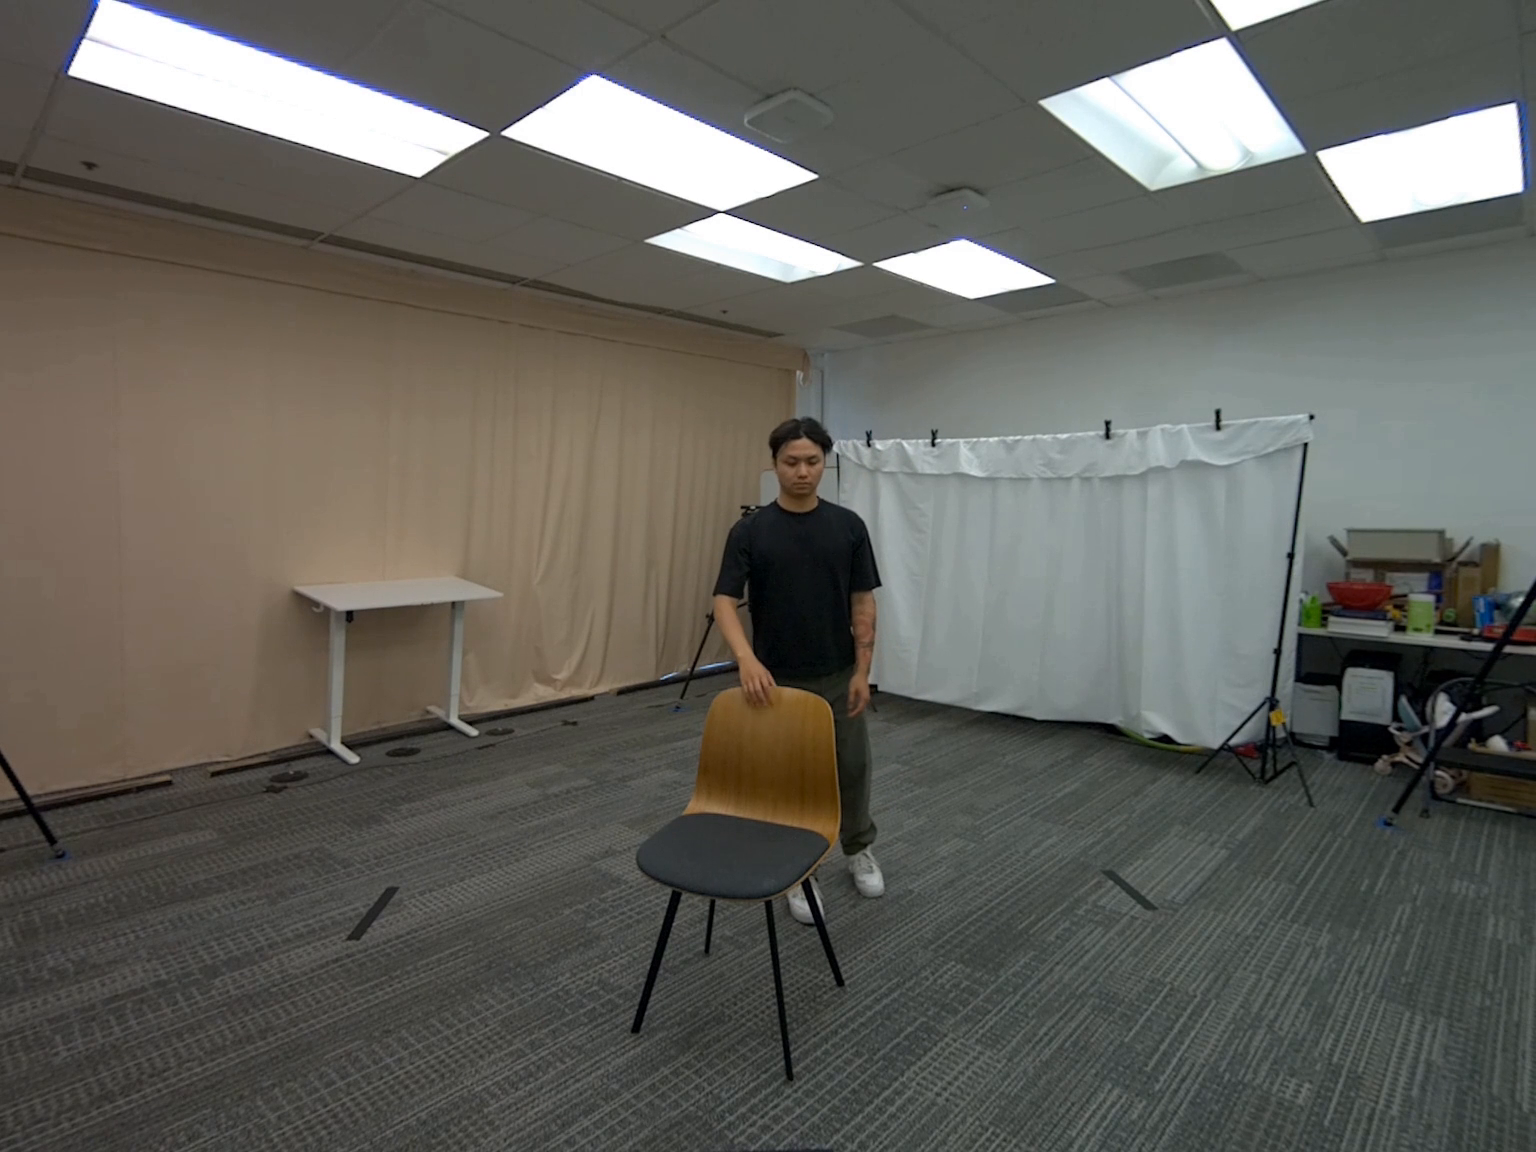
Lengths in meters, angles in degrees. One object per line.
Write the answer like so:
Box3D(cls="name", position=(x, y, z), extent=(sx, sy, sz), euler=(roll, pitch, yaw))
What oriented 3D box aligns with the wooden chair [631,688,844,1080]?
Box3D(cls="wooden chair", position=(-0.066, 0.771, 2.300), extent=(0.490, 0.878, 0.510), euler=(1, -1, 24))
